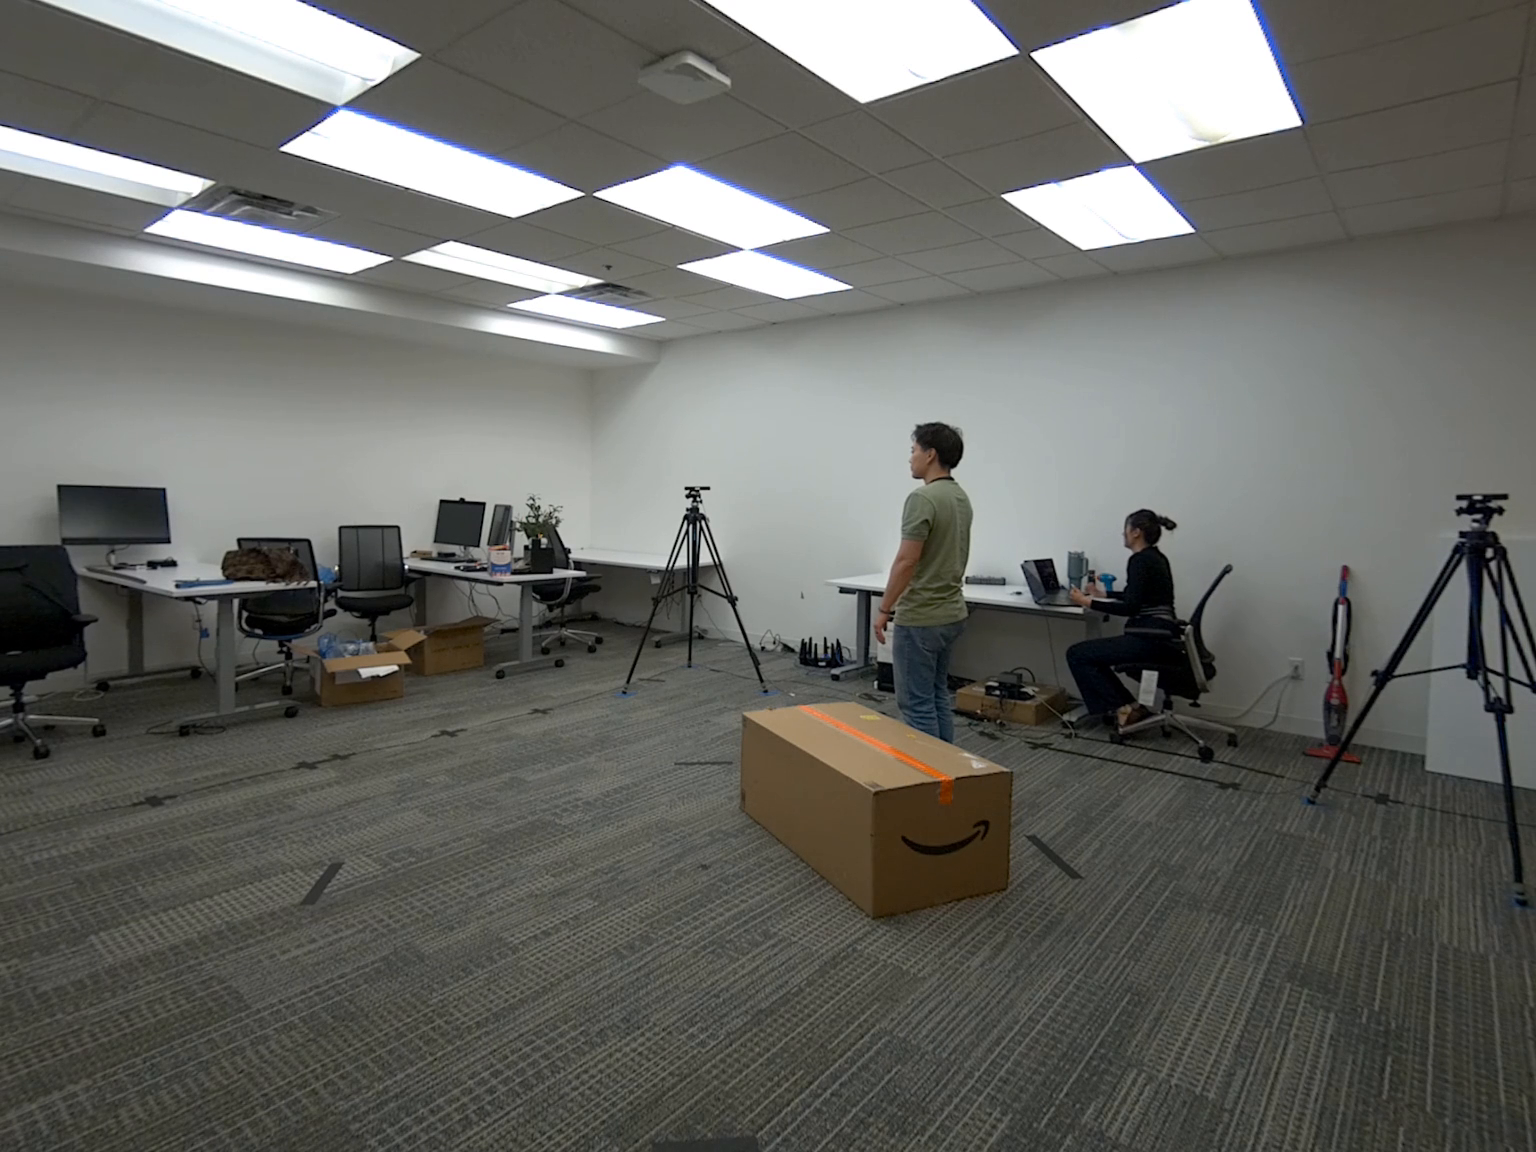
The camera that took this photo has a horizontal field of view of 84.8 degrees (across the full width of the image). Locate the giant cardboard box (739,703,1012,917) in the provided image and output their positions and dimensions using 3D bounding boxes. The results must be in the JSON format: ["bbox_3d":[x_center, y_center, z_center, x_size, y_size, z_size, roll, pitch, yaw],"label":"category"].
[{"bbox_3d":[0.355,0.836,3.321,0.563,0.425,1.055,0,5,-26],"label":"giant cardboard box"}]
